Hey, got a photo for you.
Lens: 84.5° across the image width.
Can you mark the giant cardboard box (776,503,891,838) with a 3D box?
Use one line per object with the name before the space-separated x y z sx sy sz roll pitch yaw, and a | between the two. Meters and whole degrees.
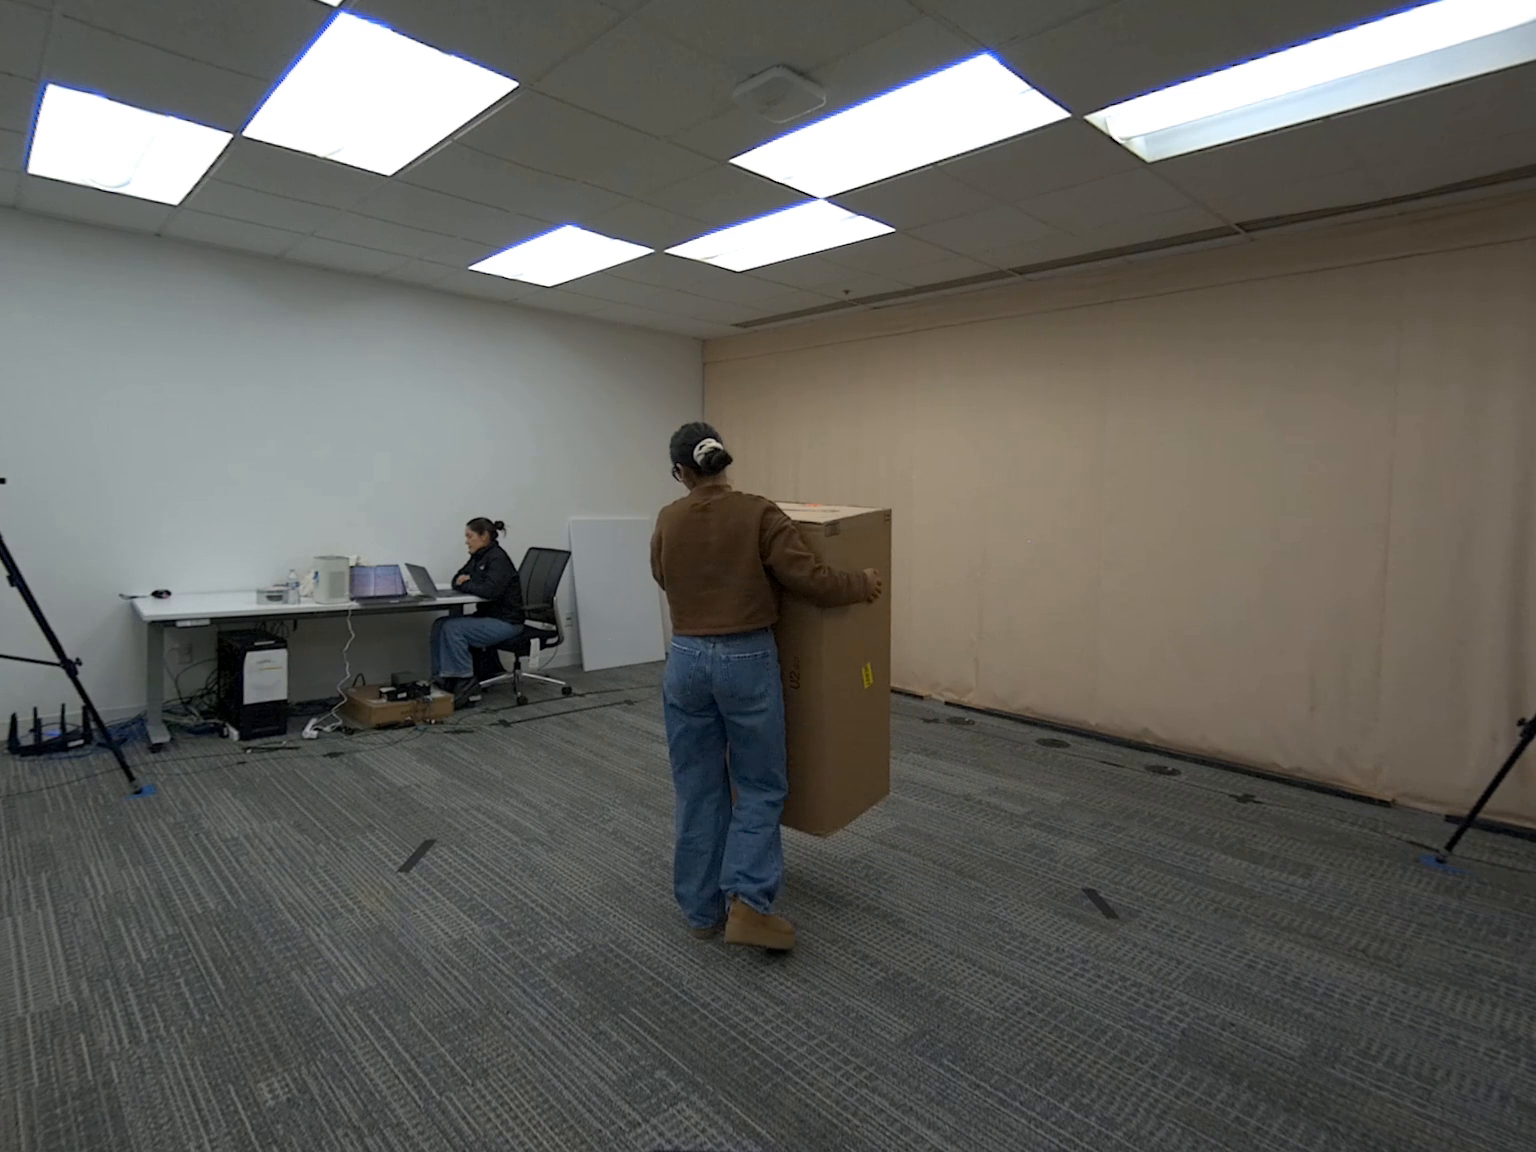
giant cardboard box | 0.080 0.285 2.938 0.592 1.019 0.418 6 10 38
